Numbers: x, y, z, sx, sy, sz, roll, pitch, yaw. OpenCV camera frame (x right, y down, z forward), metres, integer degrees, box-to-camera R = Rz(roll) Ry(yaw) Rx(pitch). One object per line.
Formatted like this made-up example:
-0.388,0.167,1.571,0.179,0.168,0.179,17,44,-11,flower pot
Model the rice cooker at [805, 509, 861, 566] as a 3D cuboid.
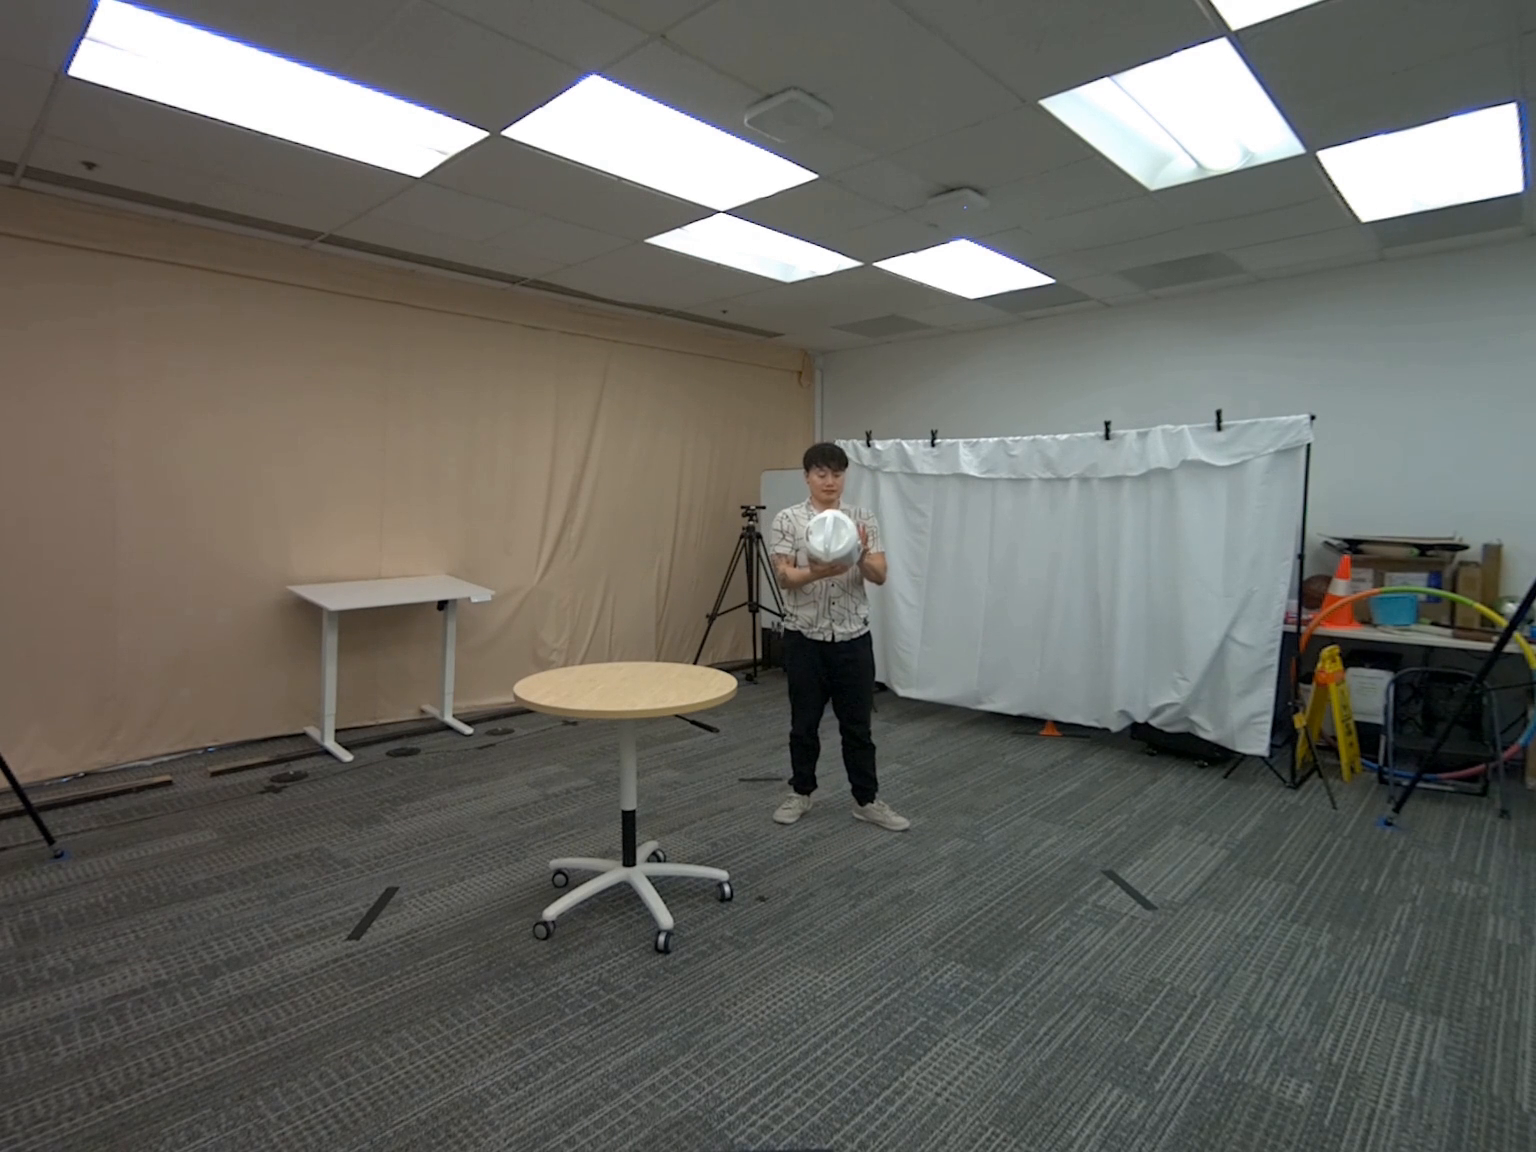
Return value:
0.256,-0.139,3.330,0.221,0.222,0.227,6,-15,16,rice cooker
